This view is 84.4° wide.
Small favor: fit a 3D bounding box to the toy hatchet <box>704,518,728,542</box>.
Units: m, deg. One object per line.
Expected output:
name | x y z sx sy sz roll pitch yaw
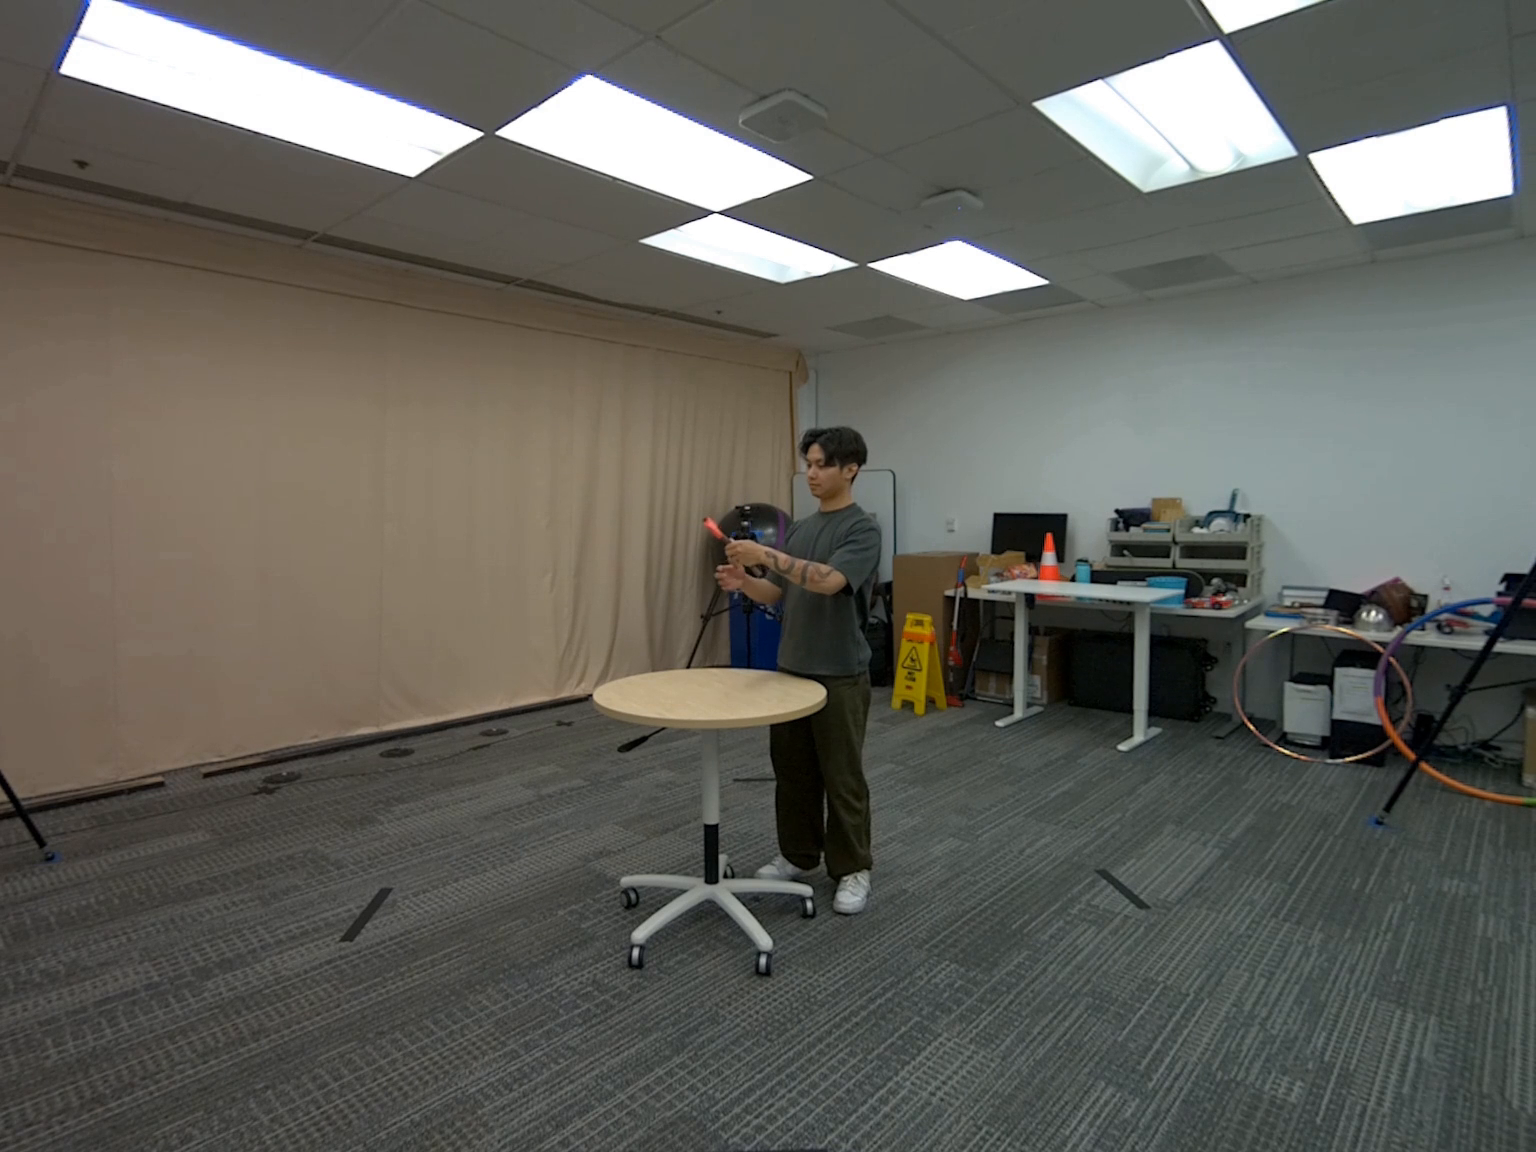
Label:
toy hatchet | -0.114 -0.101 2.758 0.275 0.029 0.129 46 3 14
